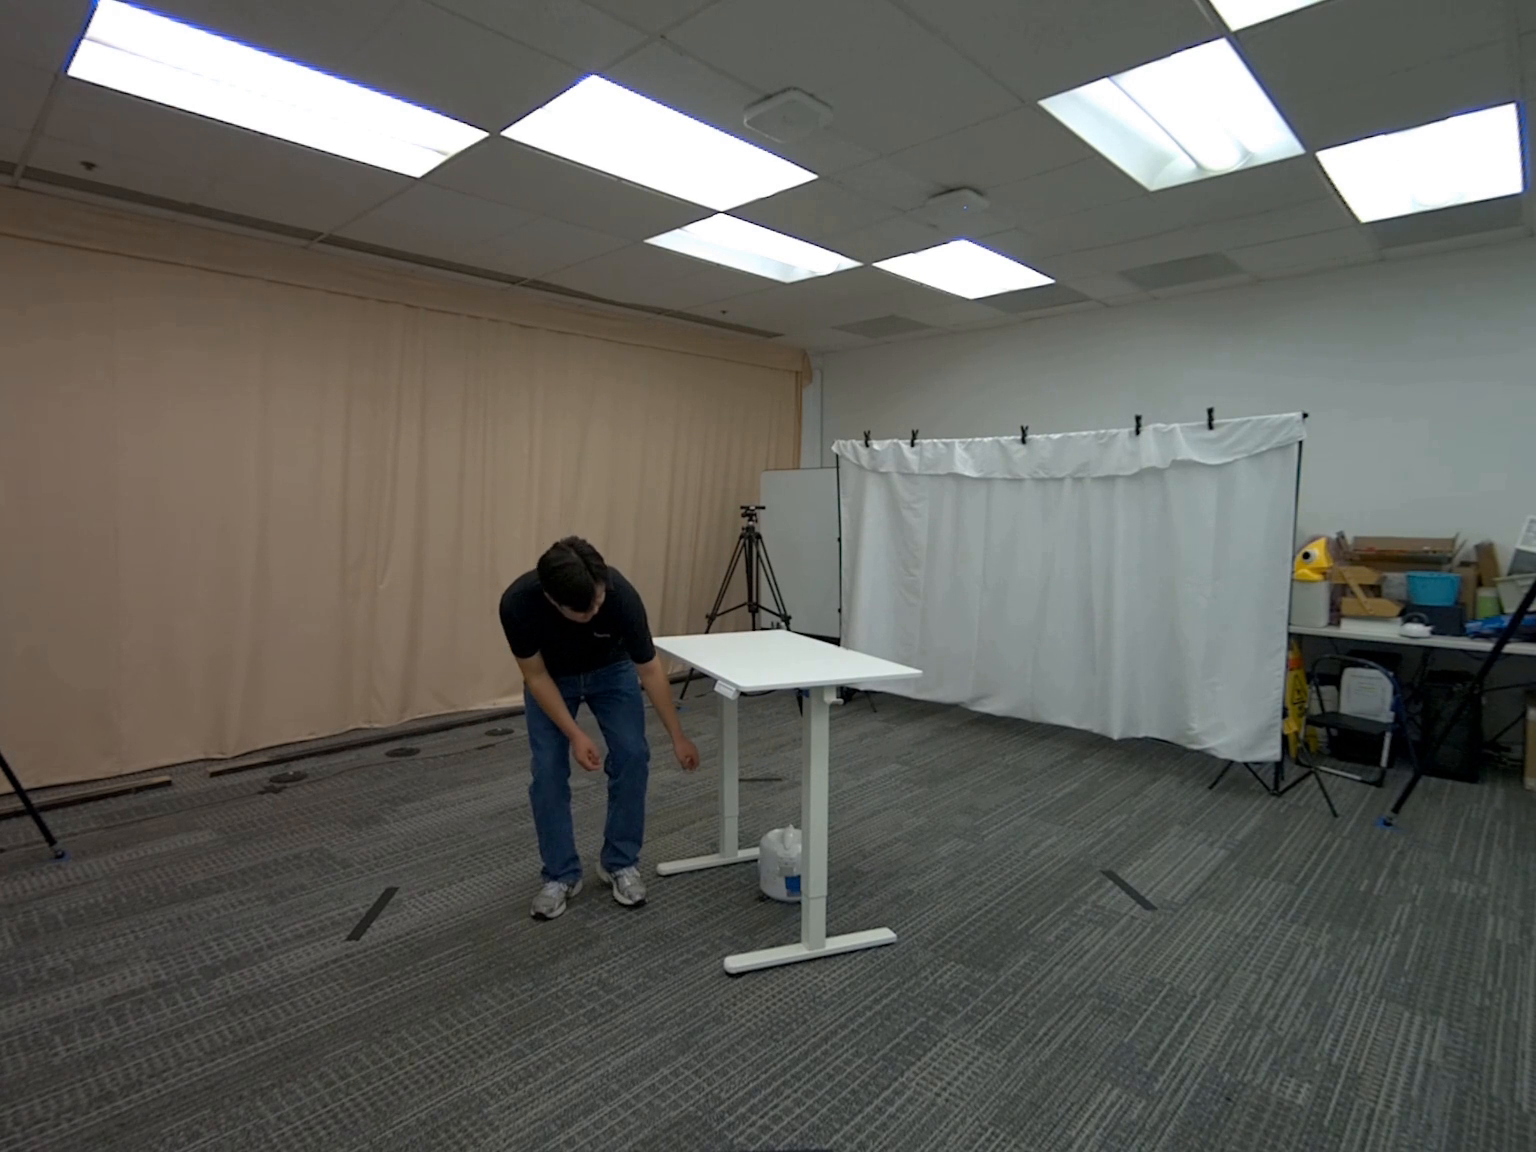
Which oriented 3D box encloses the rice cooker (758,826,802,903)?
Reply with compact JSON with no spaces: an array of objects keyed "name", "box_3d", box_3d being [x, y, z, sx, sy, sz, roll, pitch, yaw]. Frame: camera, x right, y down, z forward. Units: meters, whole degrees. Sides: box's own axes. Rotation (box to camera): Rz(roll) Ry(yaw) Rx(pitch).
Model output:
[{"name":"rice cooker","box_3d":[0.080,1.024,3.021,0.220,0.232,0.219,2,4,9]}]
